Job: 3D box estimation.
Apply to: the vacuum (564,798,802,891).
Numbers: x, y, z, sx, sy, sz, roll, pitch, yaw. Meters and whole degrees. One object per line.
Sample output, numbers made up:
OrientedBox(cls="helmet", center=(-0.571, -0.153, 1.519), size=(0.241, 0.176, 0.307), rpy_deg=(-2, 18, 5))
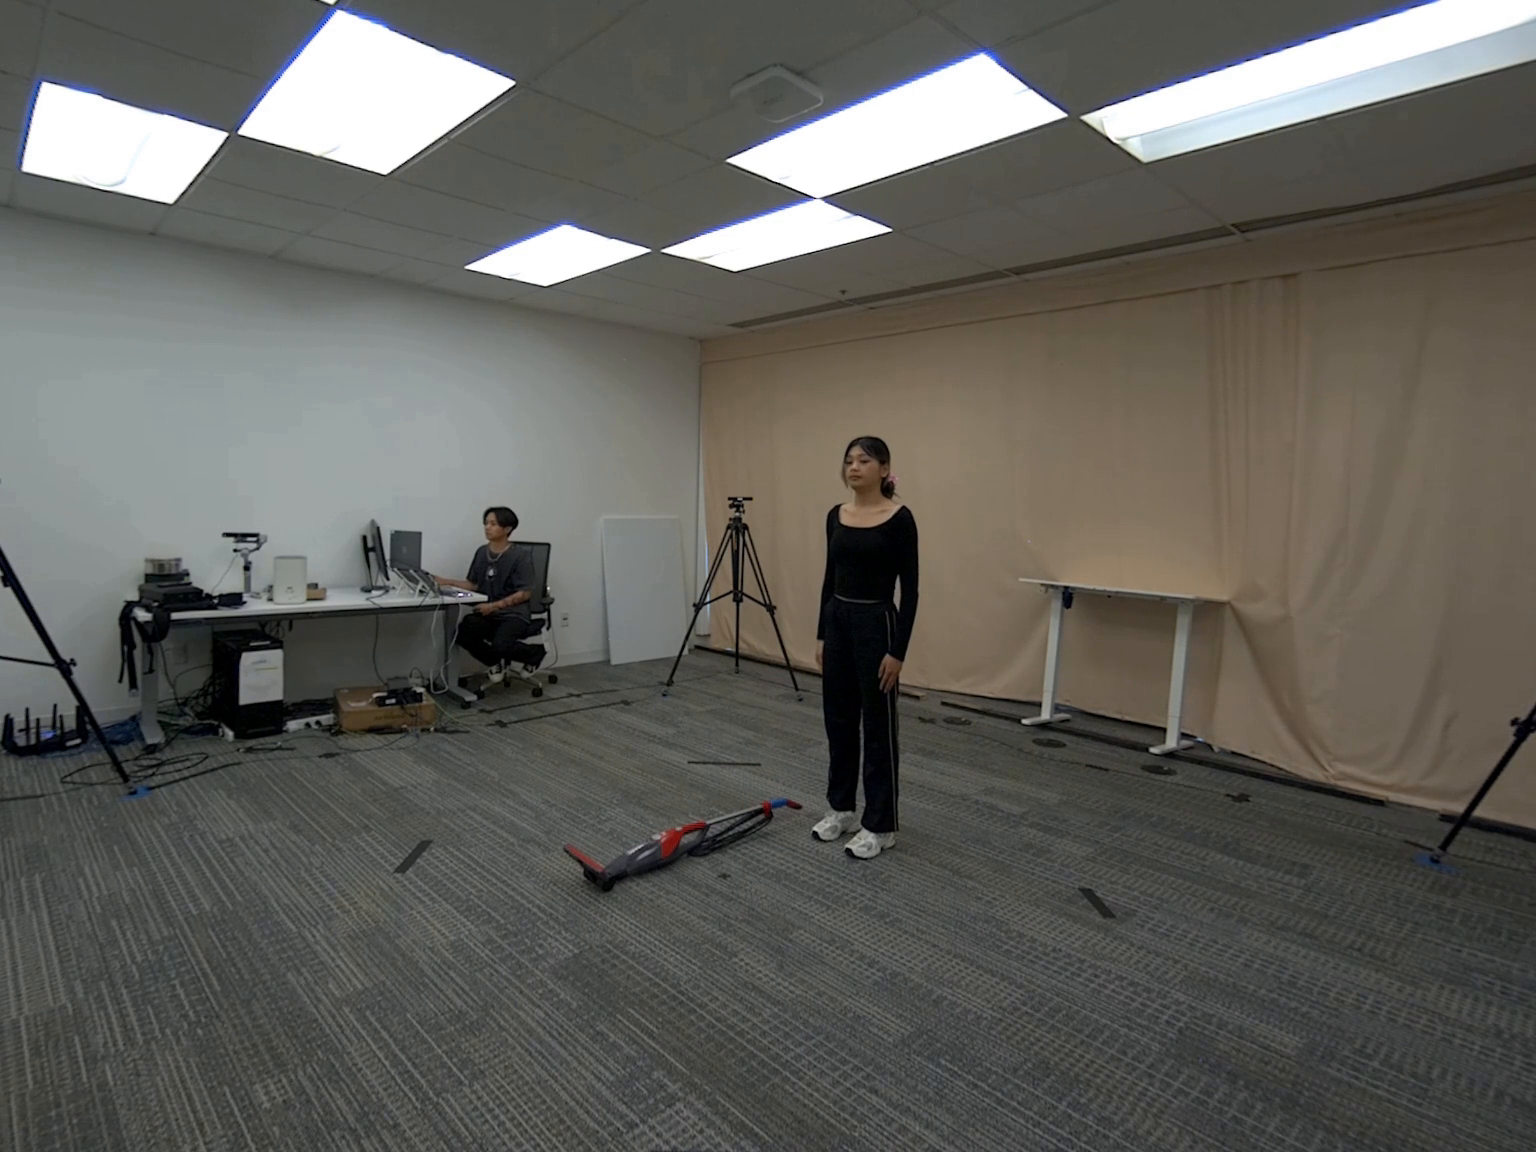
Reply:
OrientedBox(cls="vacuum", center=(-0.264, 1.032, 3.306), size=(1.025, 0.144, 0.259), rpy_deg=(-2, 5, -40))
